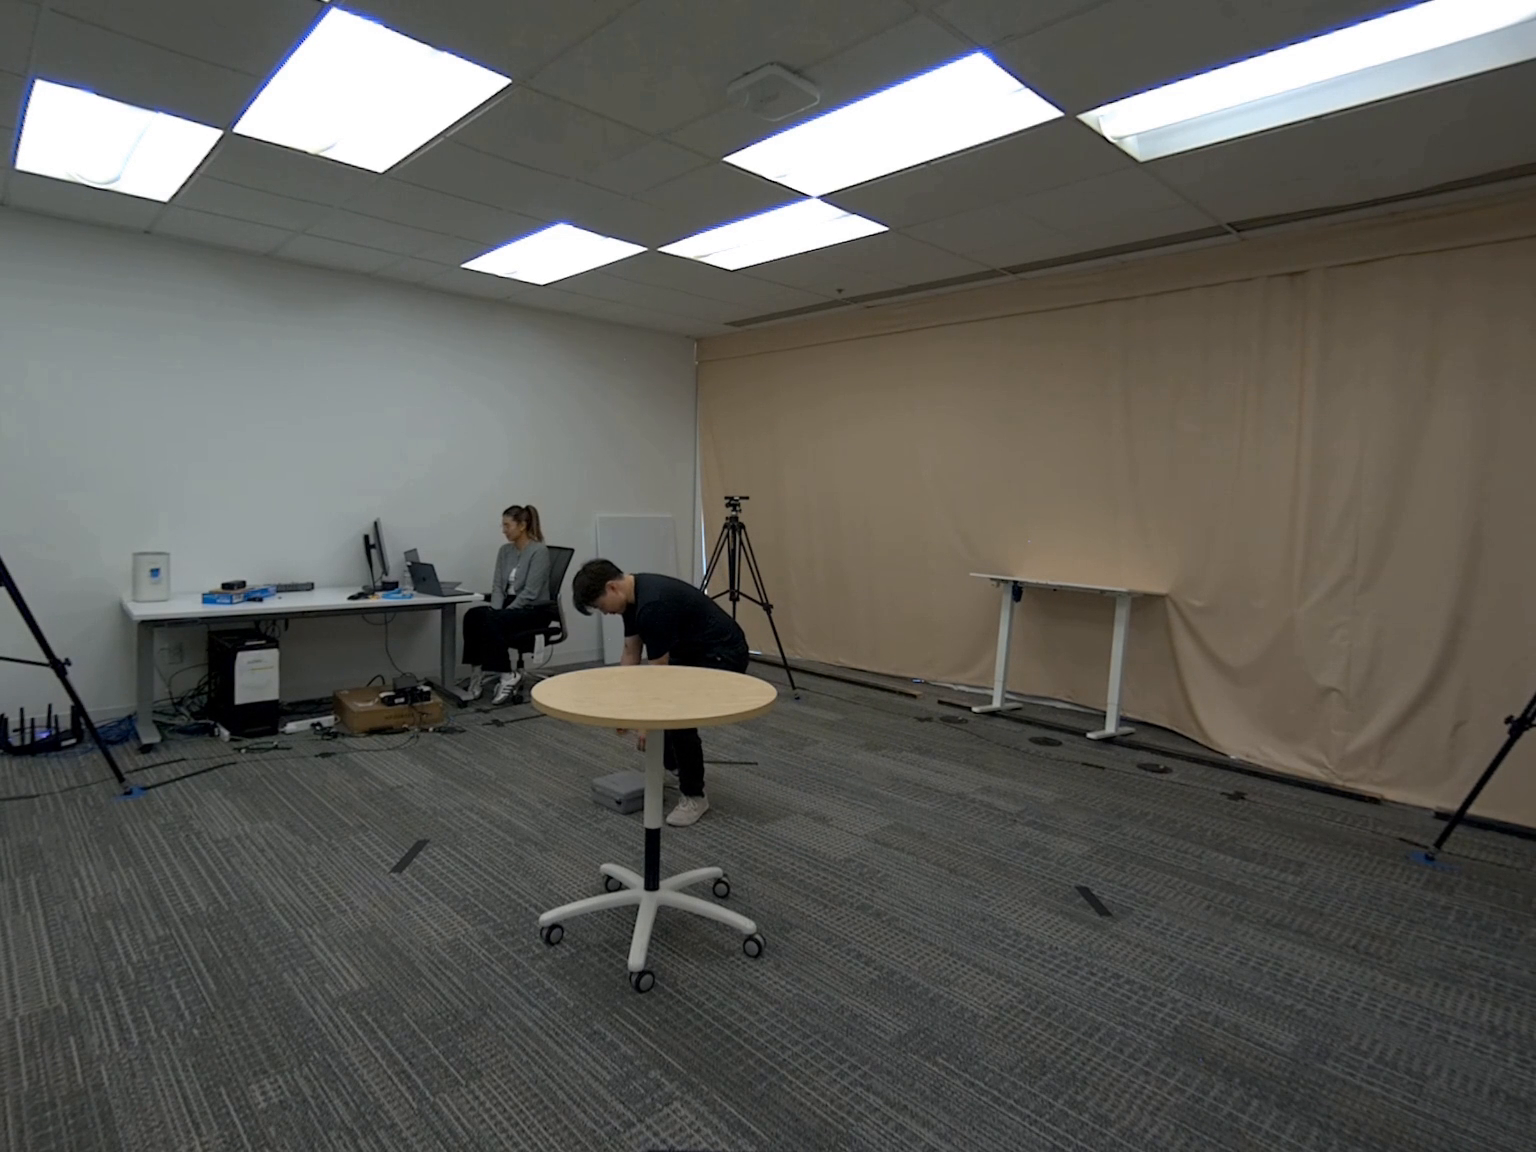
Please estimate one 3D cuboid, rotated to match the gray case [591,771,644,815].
[{"bbox_3d":[-0.645,0.971,3.831,0.263,0.104,0.255,4,5,42],"label":"gray case"}]
